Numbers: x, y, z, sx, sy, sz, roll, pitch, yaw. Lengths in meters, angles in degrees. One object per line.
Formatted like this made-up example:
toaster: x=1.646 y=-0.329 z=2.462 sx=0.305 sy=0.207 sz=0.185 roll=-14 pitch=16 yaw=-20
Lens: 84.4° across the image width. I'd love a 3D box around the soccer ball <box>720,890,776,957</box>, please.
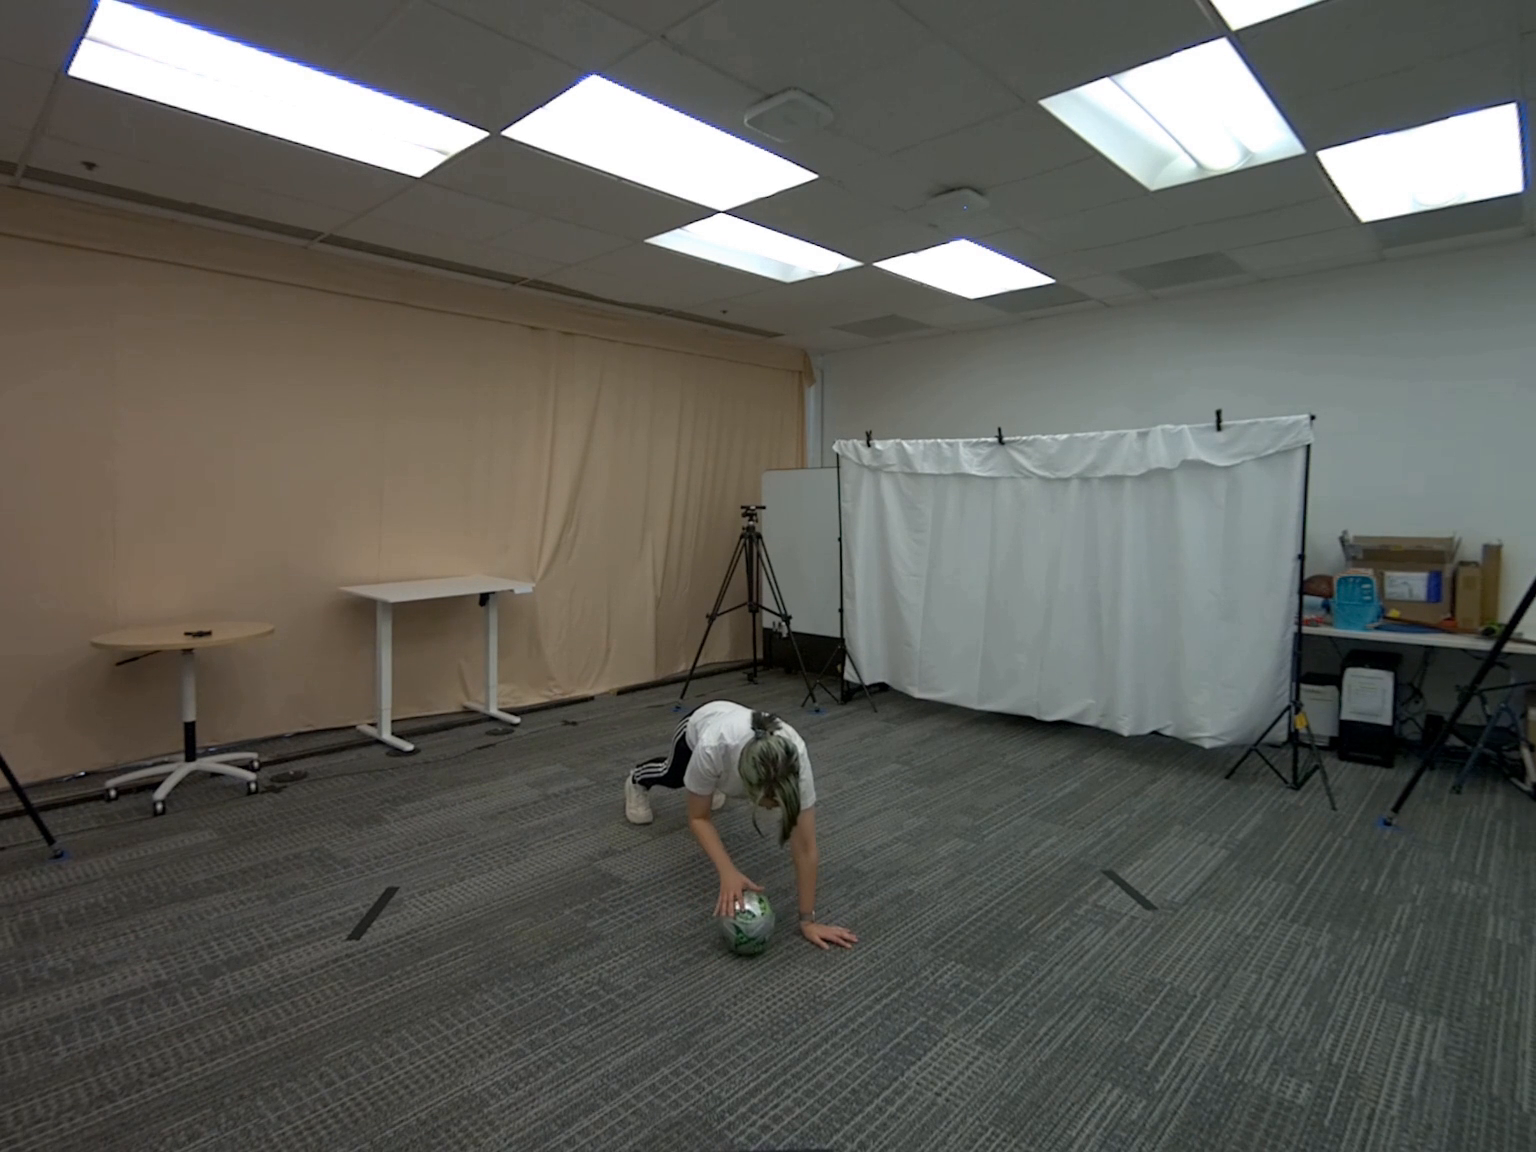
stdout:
soccer ball: x=-0.076 y=1.076 z=2.636 sx=0.187 sy=0.187 sz=0.188 roll=0 pitch=4 yaw=-2
